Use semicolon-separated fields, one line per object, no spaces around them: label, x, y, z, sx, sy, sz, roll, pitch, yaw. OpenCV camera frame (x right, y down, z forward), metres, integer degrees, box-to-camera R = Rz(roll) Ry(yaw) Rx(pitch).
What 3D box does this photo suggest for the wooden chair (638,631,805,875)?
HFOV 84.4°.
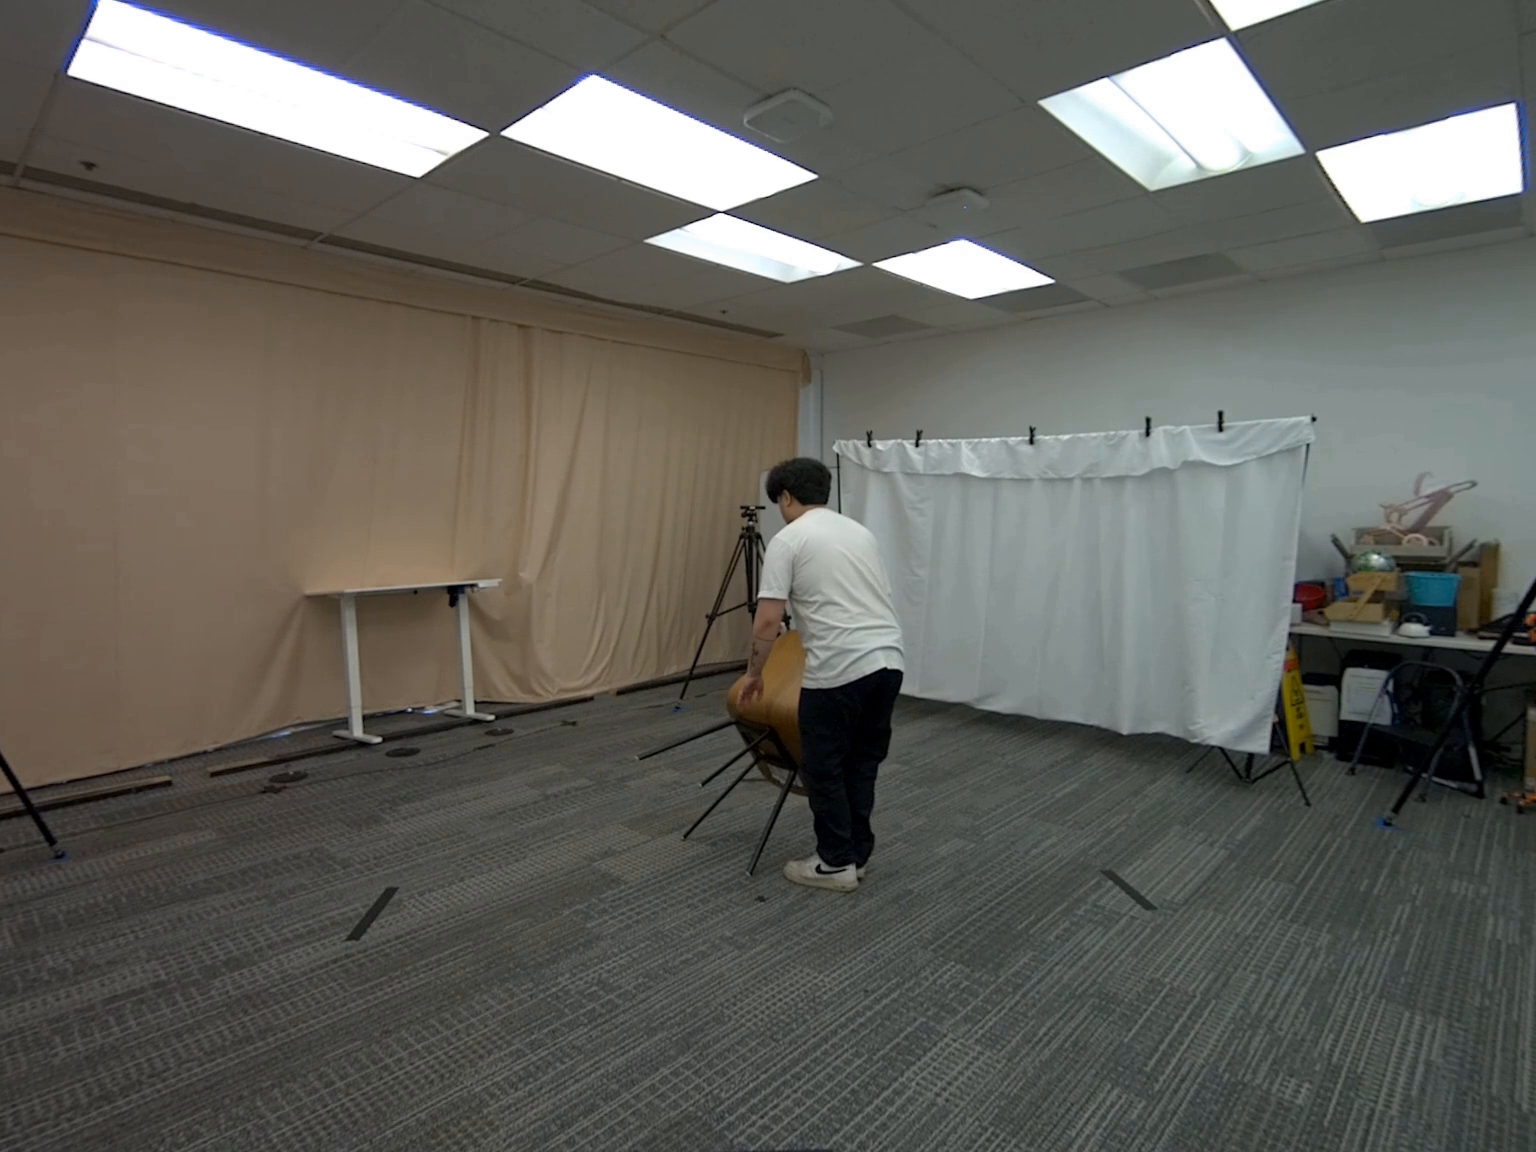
wooden chair;-0.014;0.698;3.478;0.869;0.511;0.493;-44;26;-29
